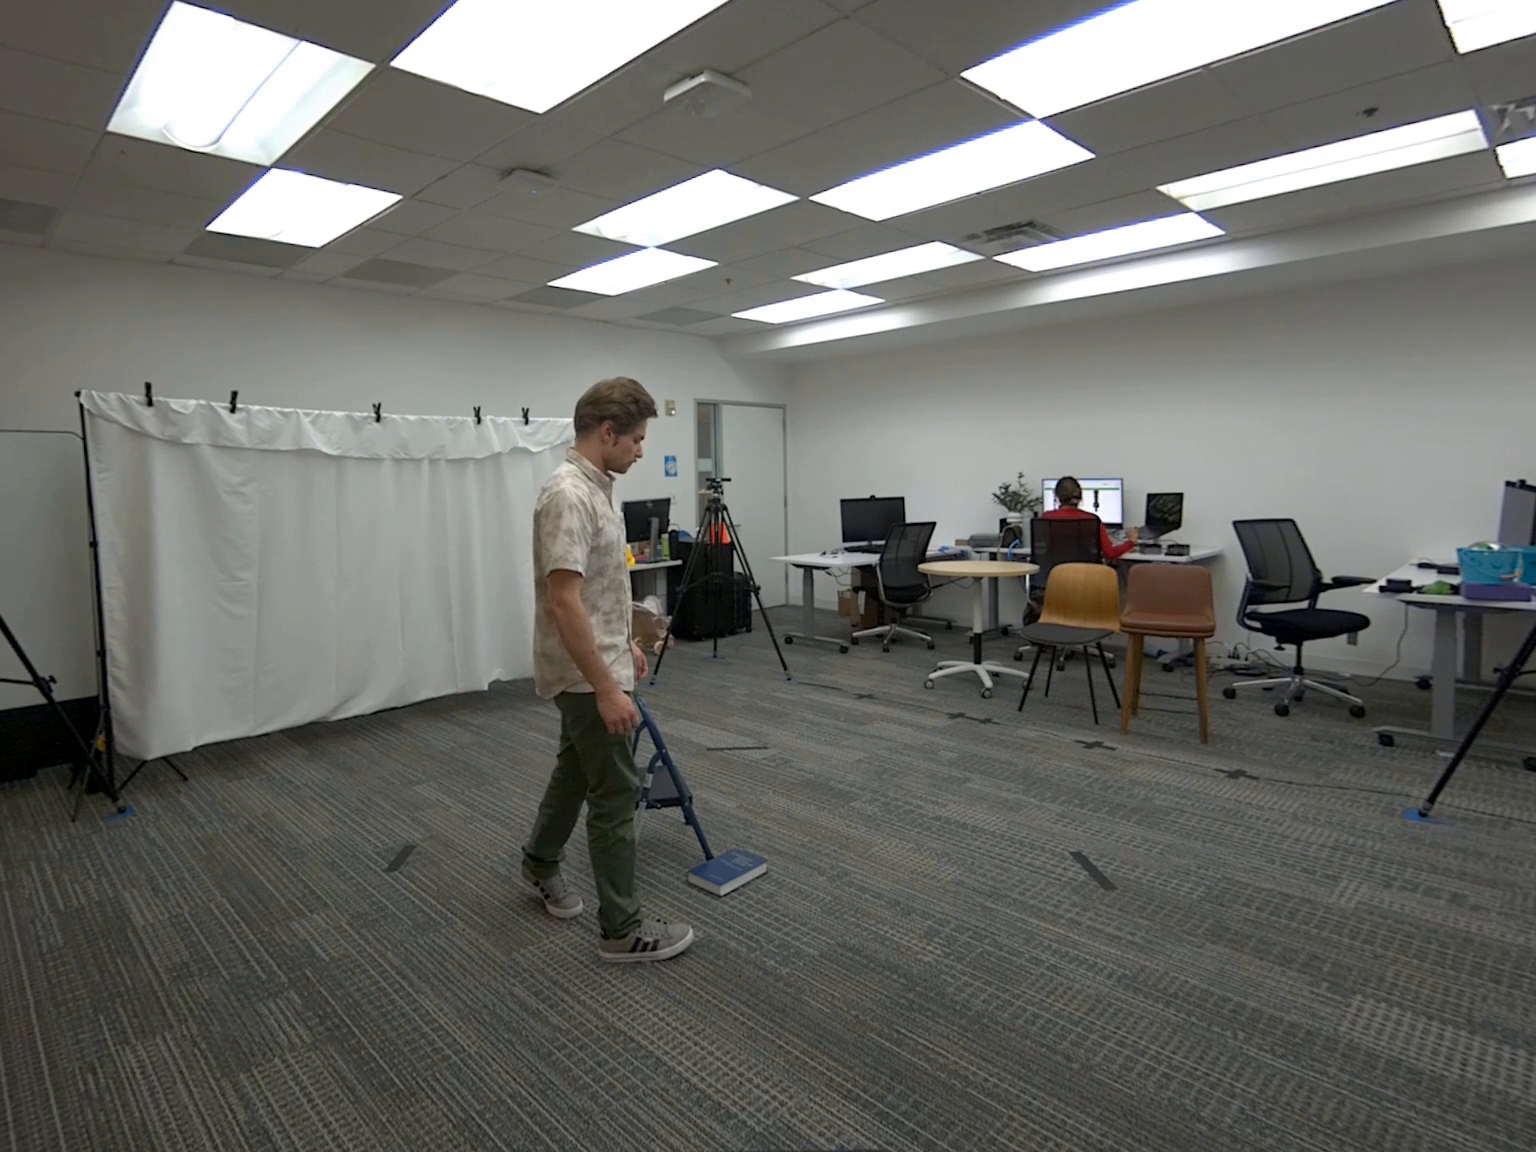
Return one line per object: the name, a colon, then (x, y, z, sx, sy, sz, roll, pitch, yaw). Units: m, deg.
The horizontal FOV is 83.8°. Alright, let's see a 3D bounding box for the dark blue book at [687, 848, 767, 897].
dark blue book: (-0.139, 1.031, 2.989, 0.168, 0.045, 0.239, 5, 8, 41)
